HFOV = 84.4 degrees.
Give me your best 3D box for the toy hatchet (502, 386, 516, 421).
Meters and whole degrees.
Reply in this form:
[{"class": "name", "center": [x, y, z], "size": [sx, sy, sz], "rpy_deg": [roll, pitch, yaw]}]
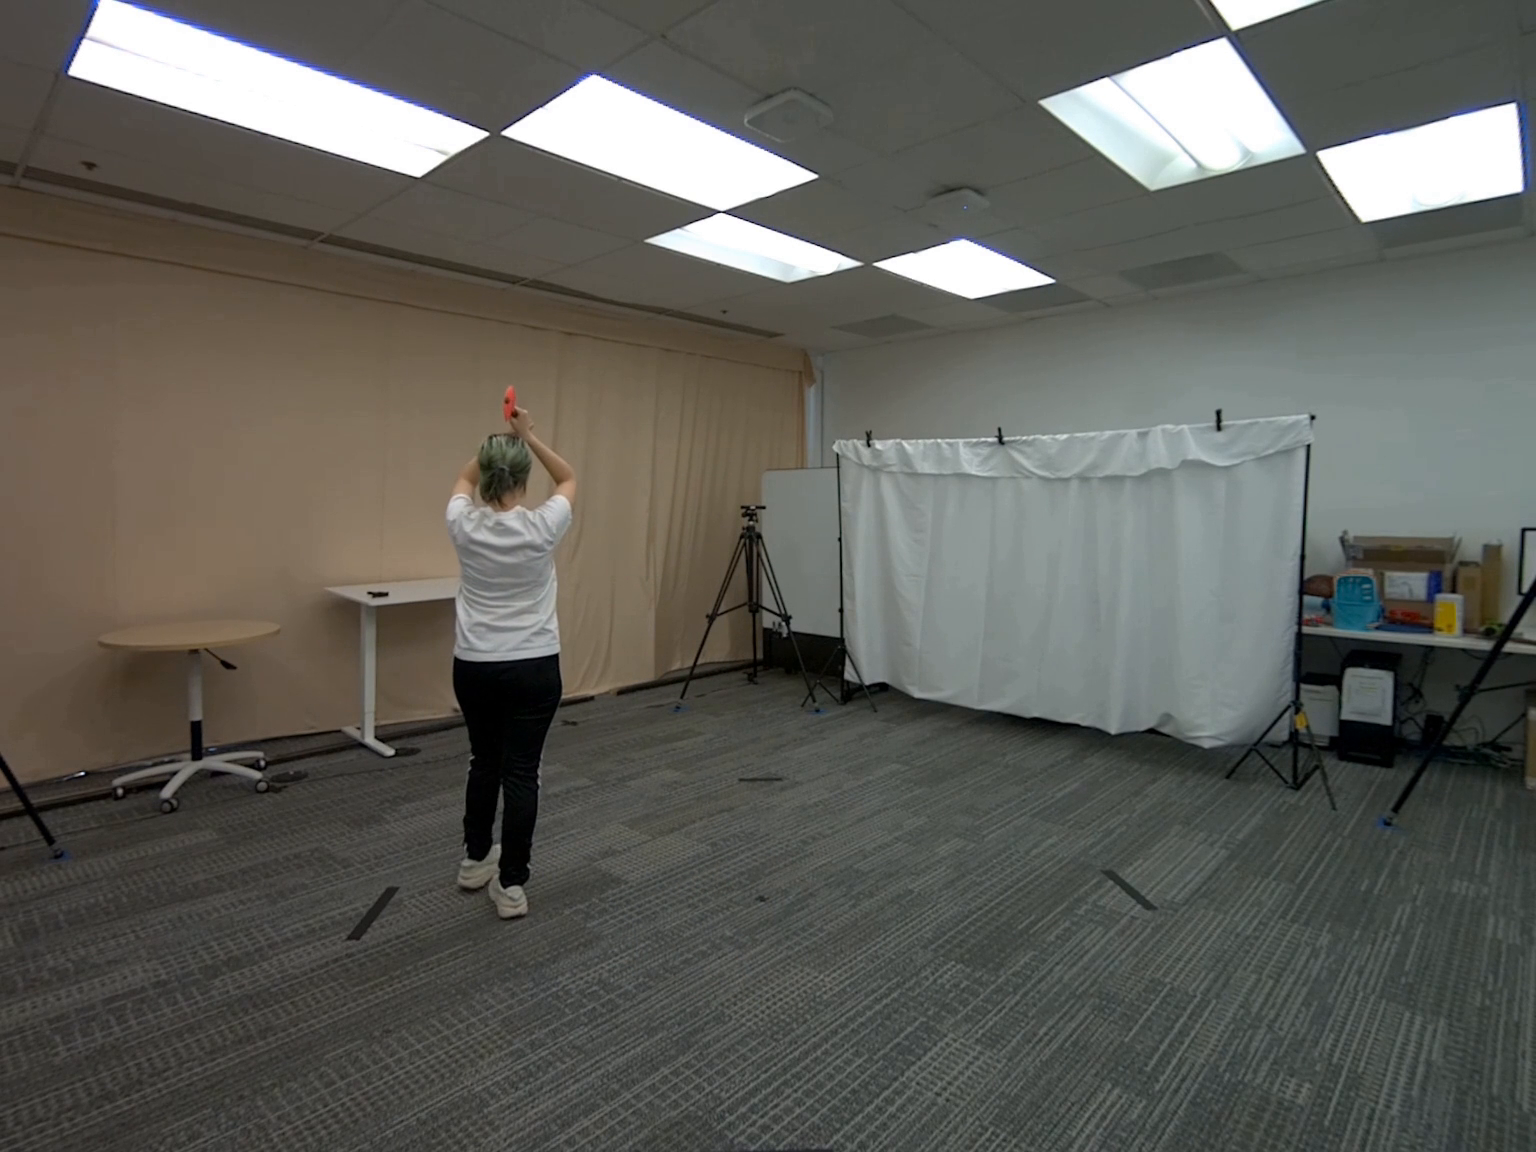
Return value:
[{"class": "toy hatchet", "center": [-0.901, -0.600, 3.010], "size": [0.029, 0.131, 0.270], "rpy_deg": [2, 2, -2]}]
